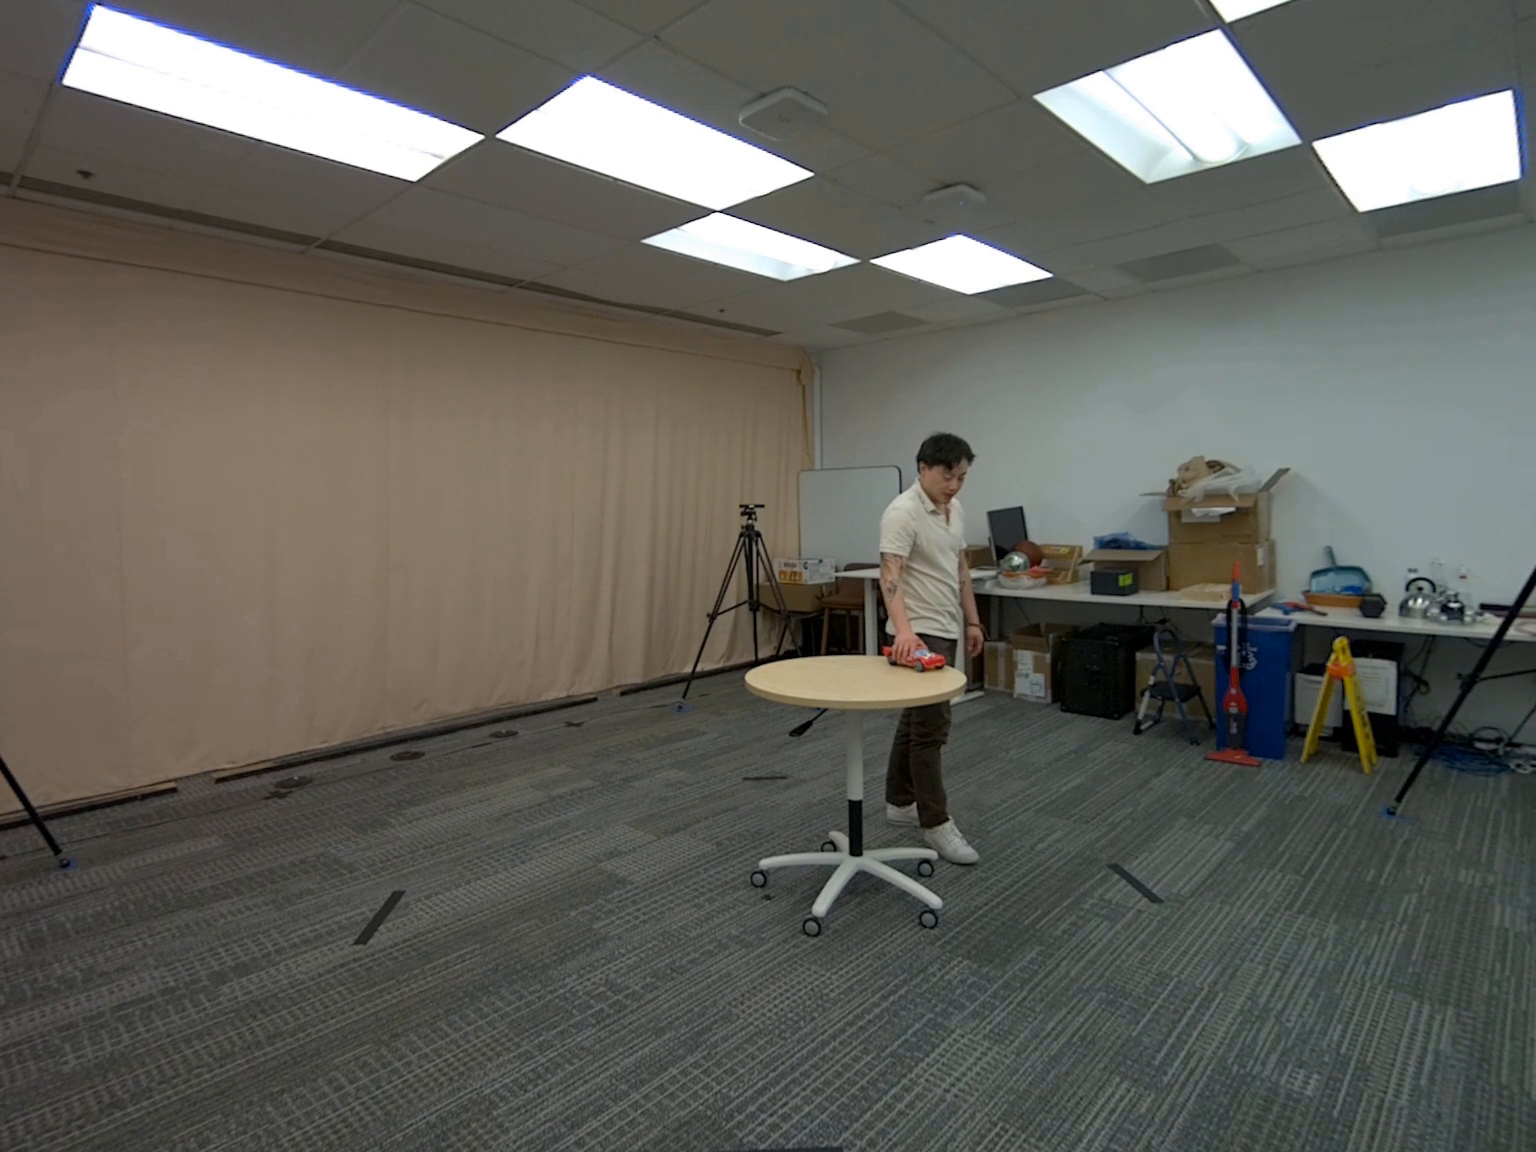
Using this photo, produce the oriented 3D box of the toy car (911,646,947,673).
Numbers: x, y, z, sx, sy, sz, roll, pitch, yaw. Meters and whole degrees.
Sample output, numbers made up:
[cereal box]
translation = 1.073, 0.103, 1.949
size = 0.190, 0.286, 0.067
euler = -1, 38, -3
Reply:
[toy car]
translation = 0.537, 0.305, 3.098
size = 0.127, 0.082, 0.263
euler = -4, 19, -29
